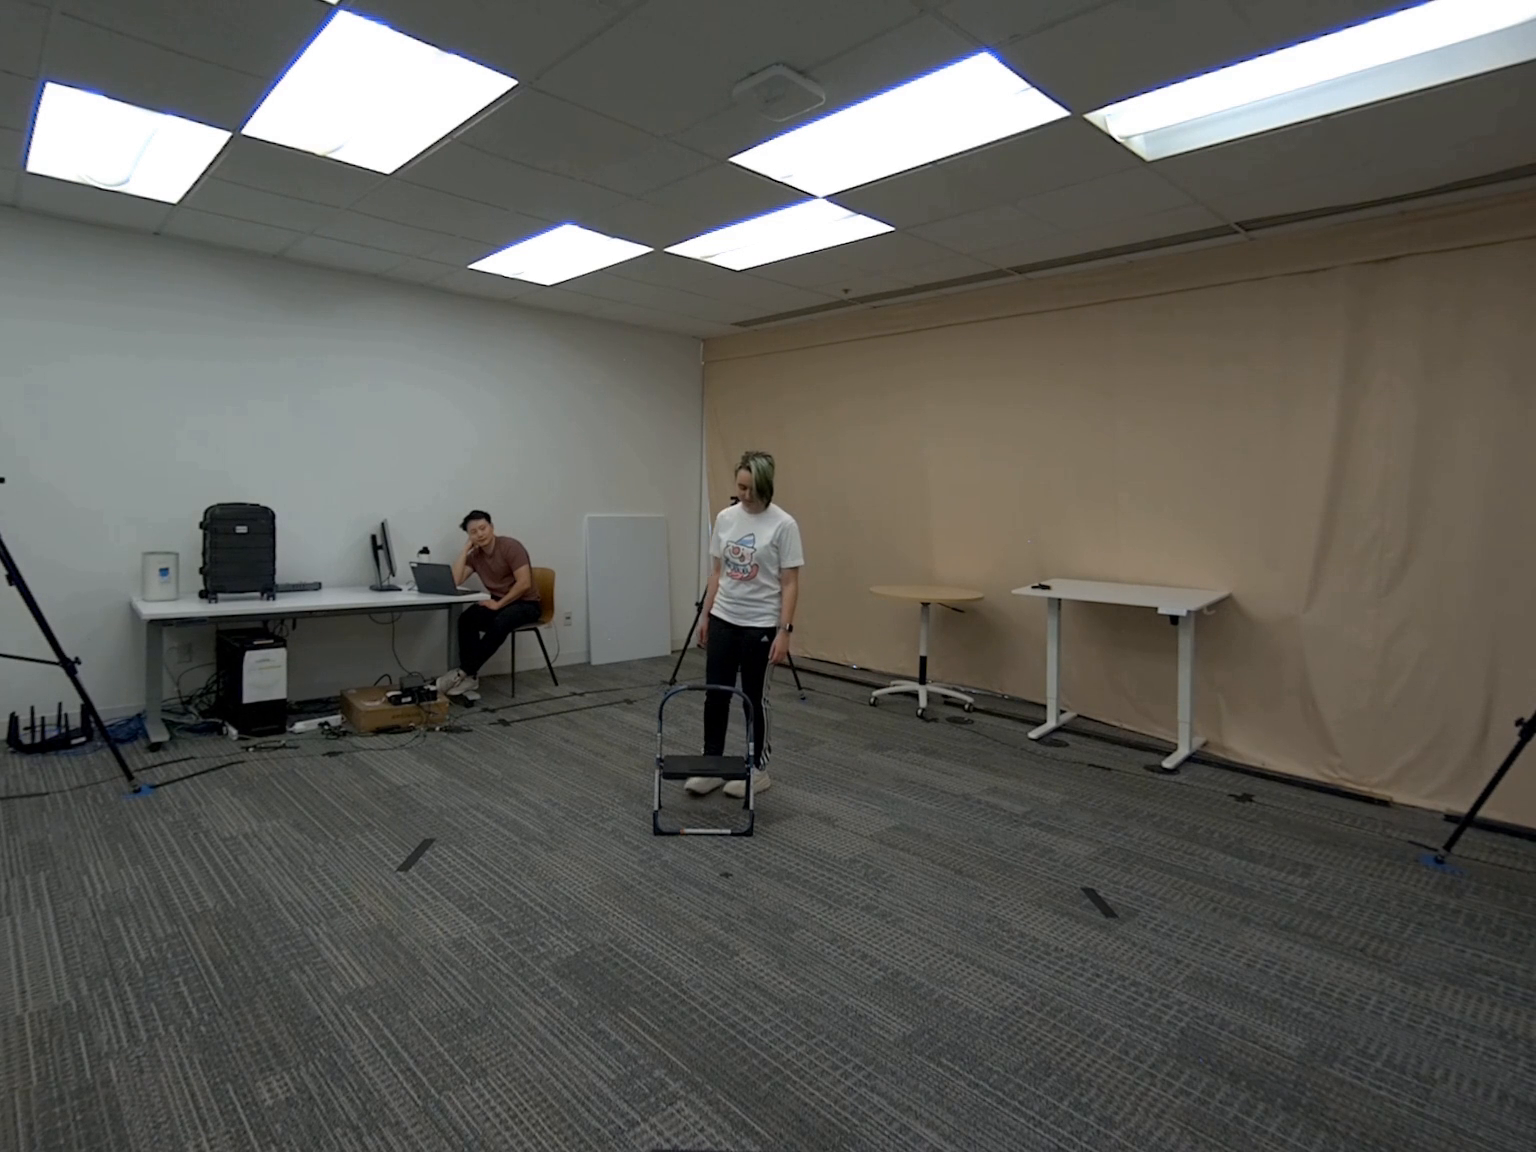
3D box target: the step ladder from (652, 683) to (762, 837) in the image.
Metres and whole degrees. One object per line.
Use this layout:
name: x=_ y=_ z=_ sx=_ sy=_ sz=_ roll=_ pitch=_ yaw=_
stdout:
step ladder: x=-0.285 y=0.759 z=3.614 sx=0.430 sy=0.605 sz=0.351 roll=2 pitch=3 yaw=-3
